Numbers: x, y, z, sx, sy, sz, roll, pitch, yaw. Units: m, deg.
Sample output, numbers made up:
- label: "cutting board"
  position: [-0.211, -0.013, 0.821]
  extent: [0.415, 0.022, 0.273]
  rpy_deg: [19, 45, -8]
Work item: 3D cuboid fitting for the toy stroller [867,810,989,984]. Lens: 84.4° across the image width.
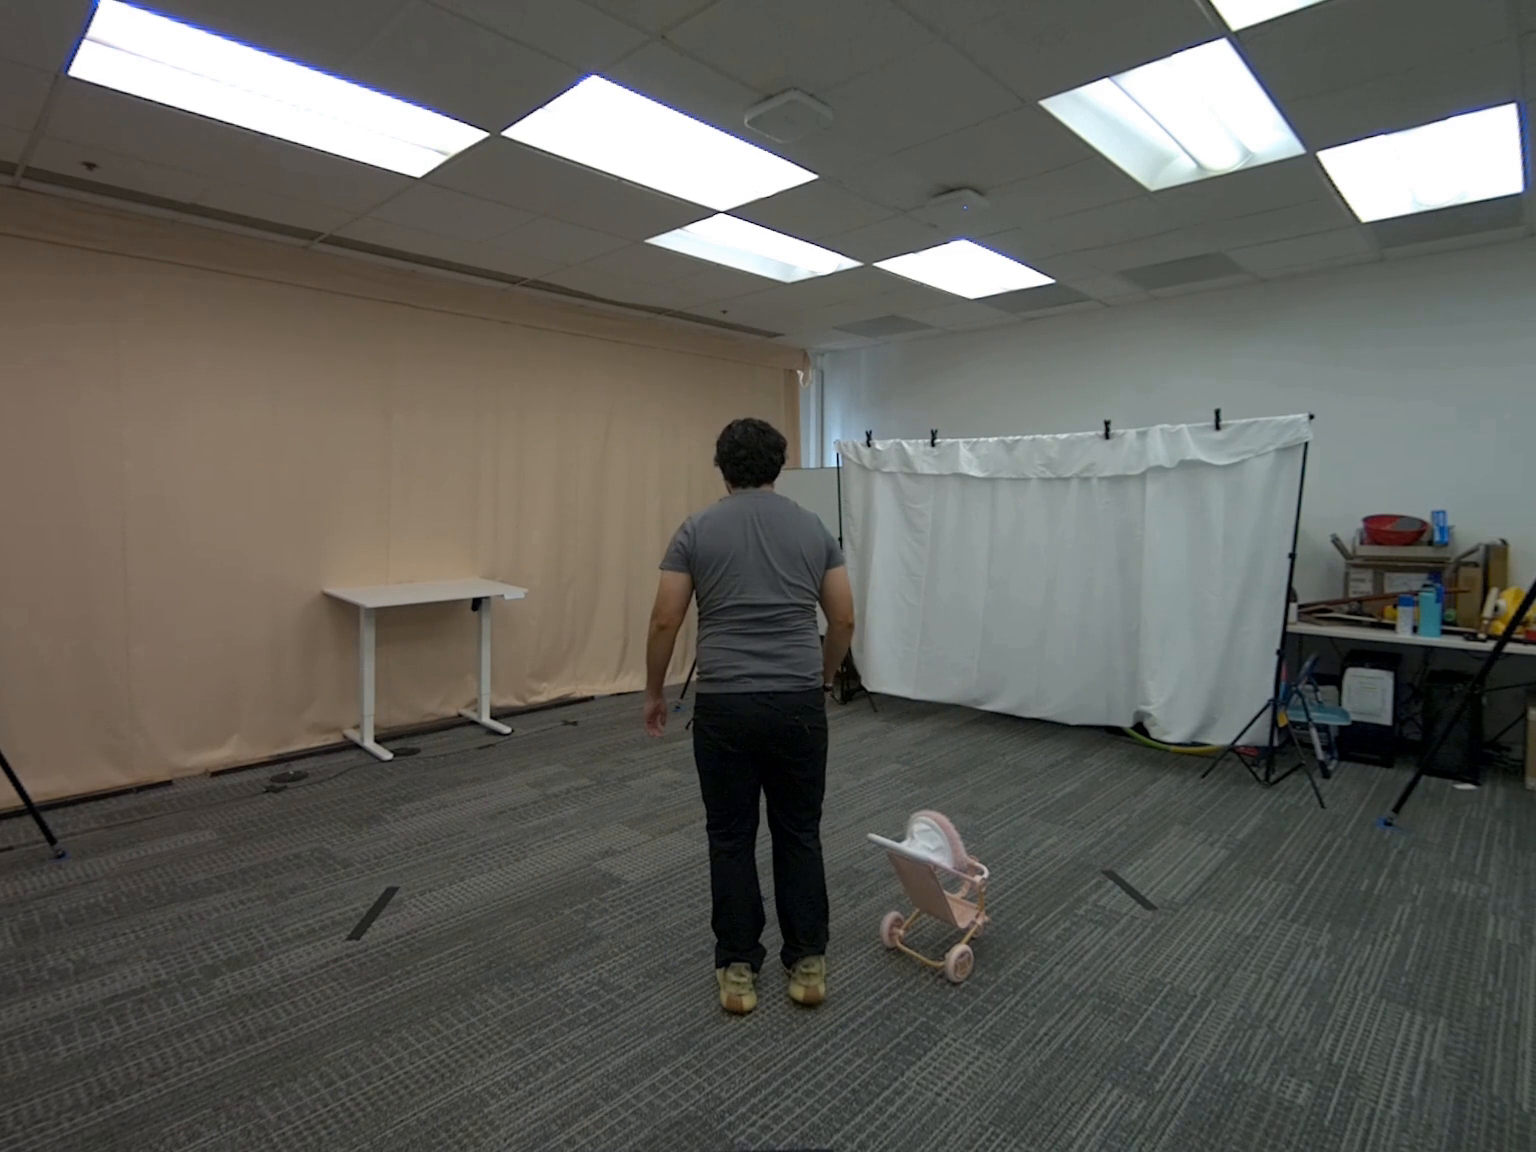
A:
- label: "toy stroller"
  position: [0.525, 0.954, 2.580]
  extent: [0.334, 0.529, 0.290]
  rpy_deg: [-23, 16, -33]
